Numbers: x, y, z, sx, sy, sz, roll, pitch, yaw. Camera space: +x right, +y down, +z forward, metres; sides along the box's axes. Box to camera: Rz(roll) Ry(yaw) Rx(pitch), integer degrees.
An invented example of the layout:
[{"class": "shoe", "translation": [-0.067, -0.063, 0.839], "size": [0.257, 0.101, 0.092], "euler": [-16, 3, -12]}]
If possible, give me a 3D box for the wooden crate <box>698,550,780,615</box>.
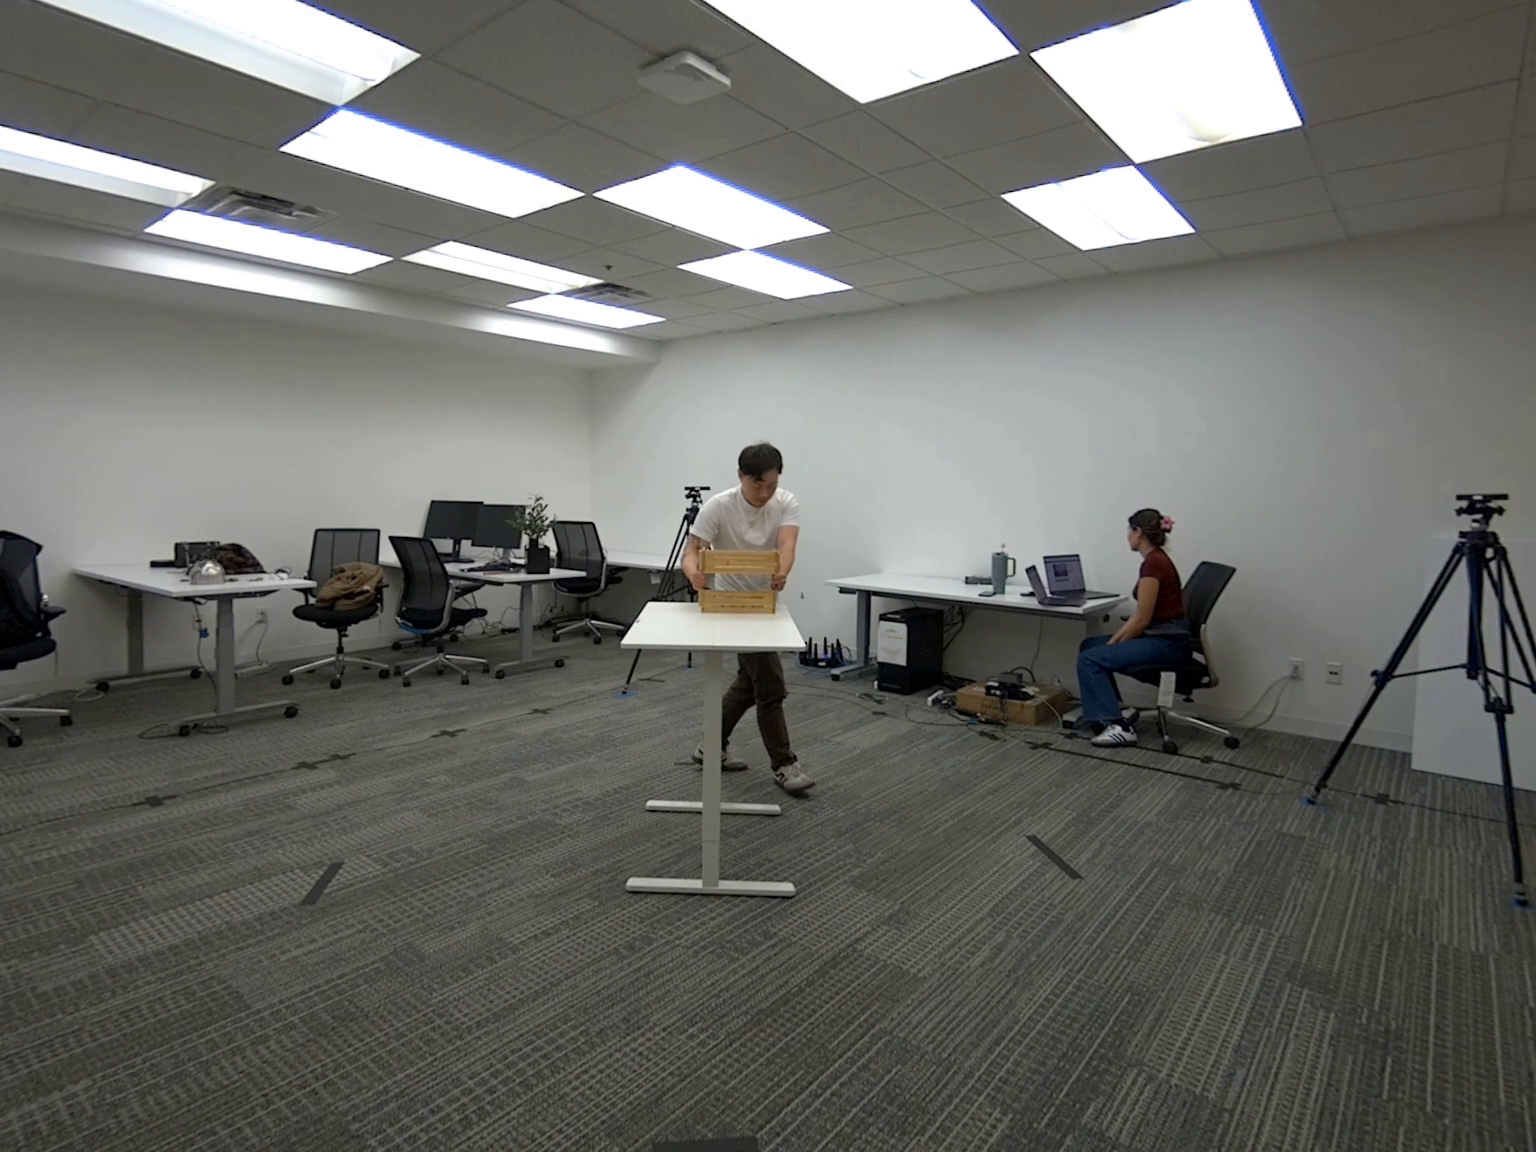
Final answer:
[{"class": "wooden crate", "translation": [-0.133, 0.010, 3.585], "size": [0.324, 0.273, 0.303], "euler": [1, 1, -2]}]
